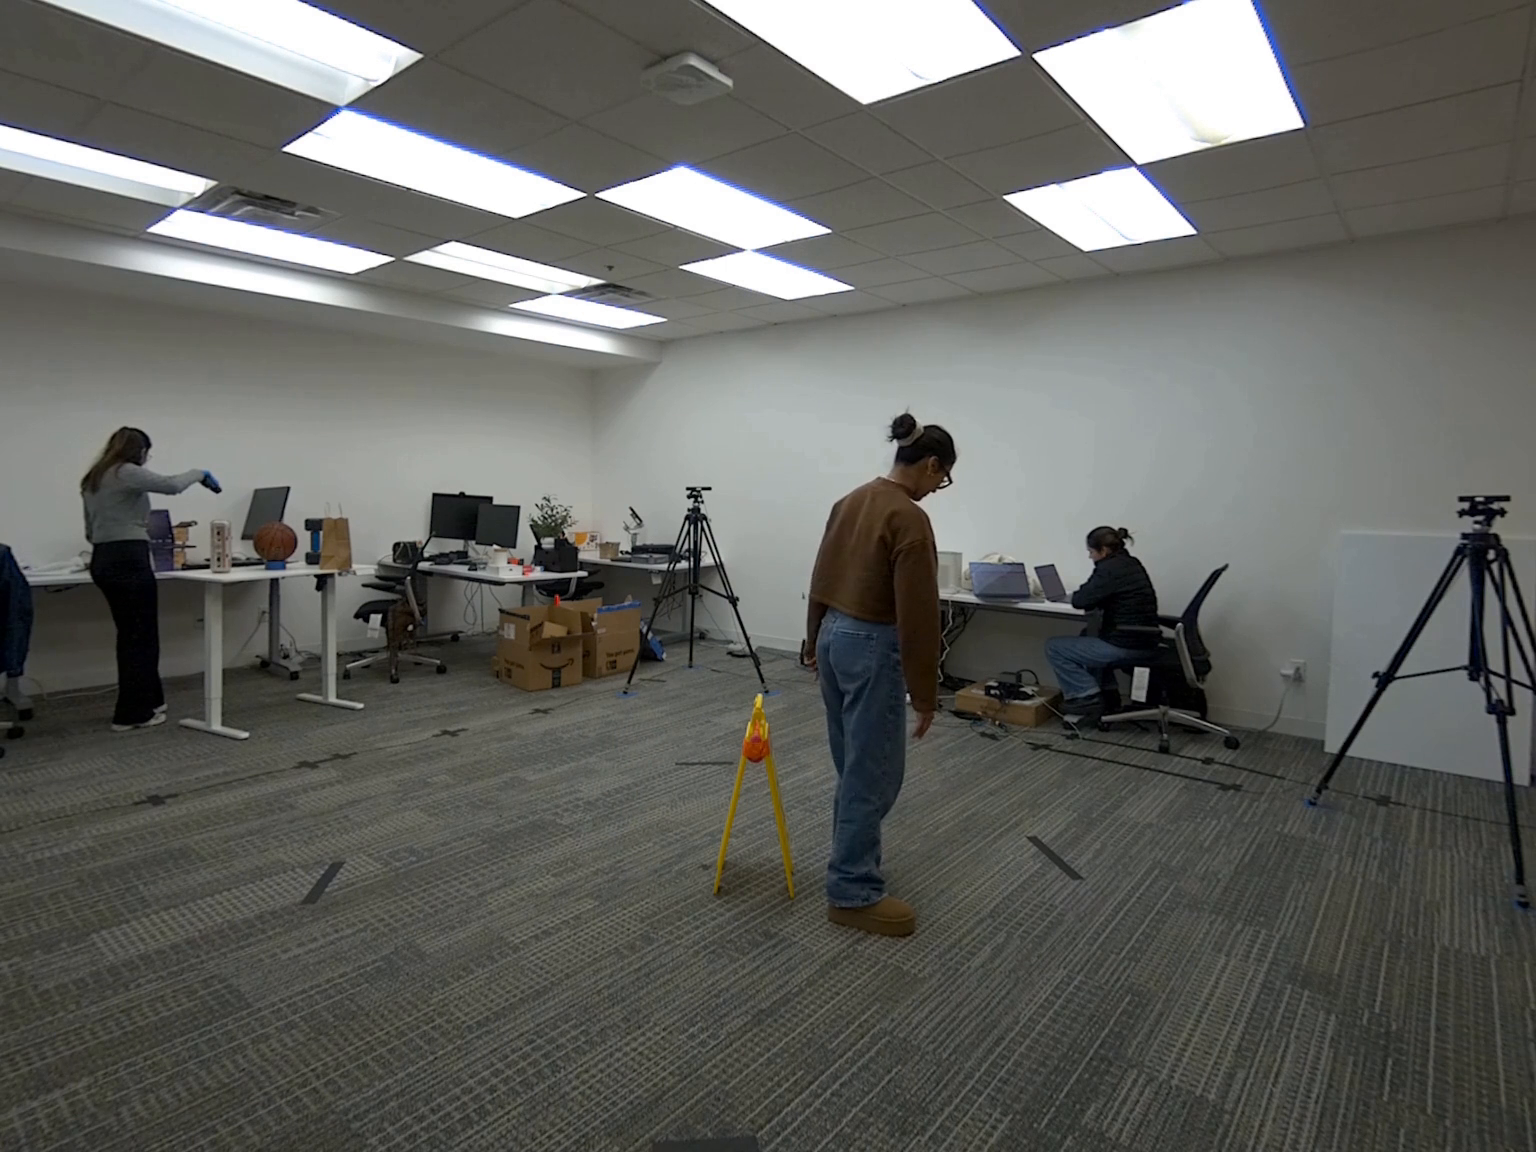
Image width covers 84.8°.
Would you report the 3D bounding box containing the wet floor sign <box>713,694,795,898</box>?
[{"bbox_3d":[-0.048,0.758,3.020,0.291,0.644,0.282,2,3,3],"label":"wet floor sign"}]
